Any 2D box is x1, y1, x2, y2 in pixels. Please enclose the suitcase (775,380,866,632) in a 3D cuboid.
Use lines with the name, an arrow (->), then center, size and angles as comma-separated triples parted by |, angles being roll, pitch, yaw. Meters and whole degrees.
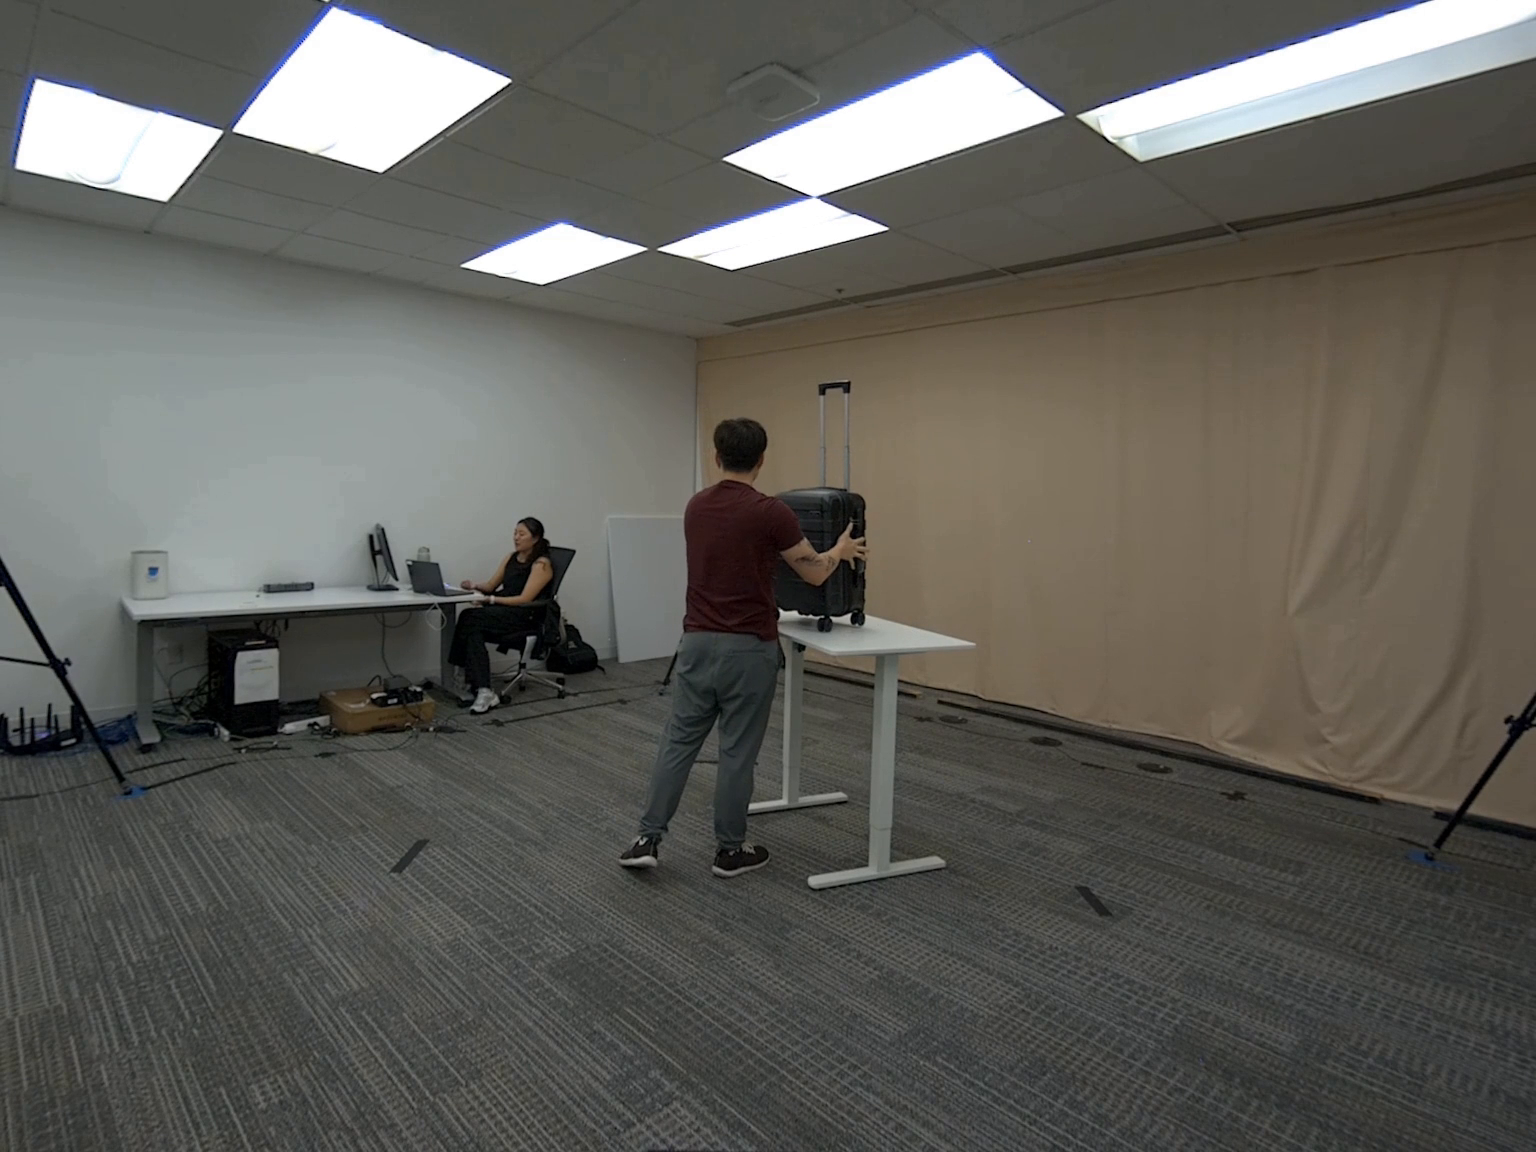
suitcase -> 0.193, -0.288, 3.405 | 0.251, 0.975, 0.394 | -5, 6, -43
